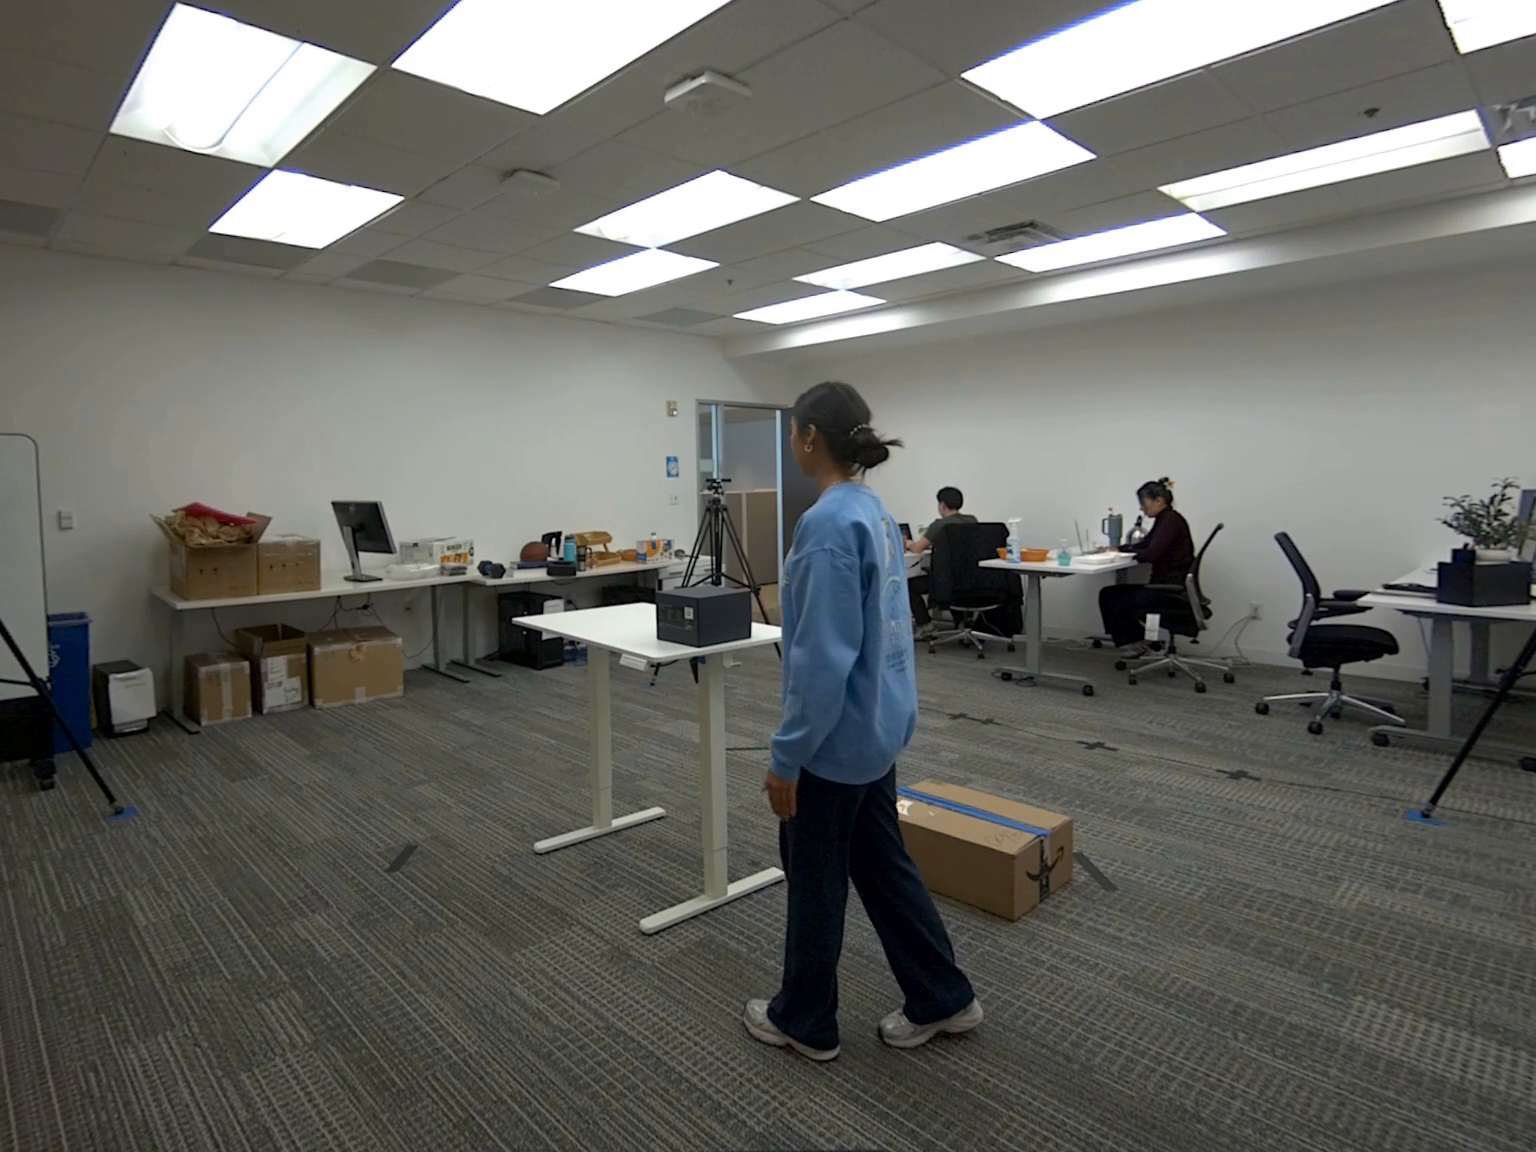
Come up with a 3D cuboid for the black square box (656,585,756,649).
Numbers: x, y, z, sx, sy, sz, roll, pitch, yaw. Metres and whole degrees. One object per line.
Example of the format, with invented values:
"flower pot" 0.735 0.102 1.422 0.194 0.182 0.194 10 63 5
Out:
"black square box" -0.202 0.125 2.756 0.222 0.155 0.223 -6 7 -44
